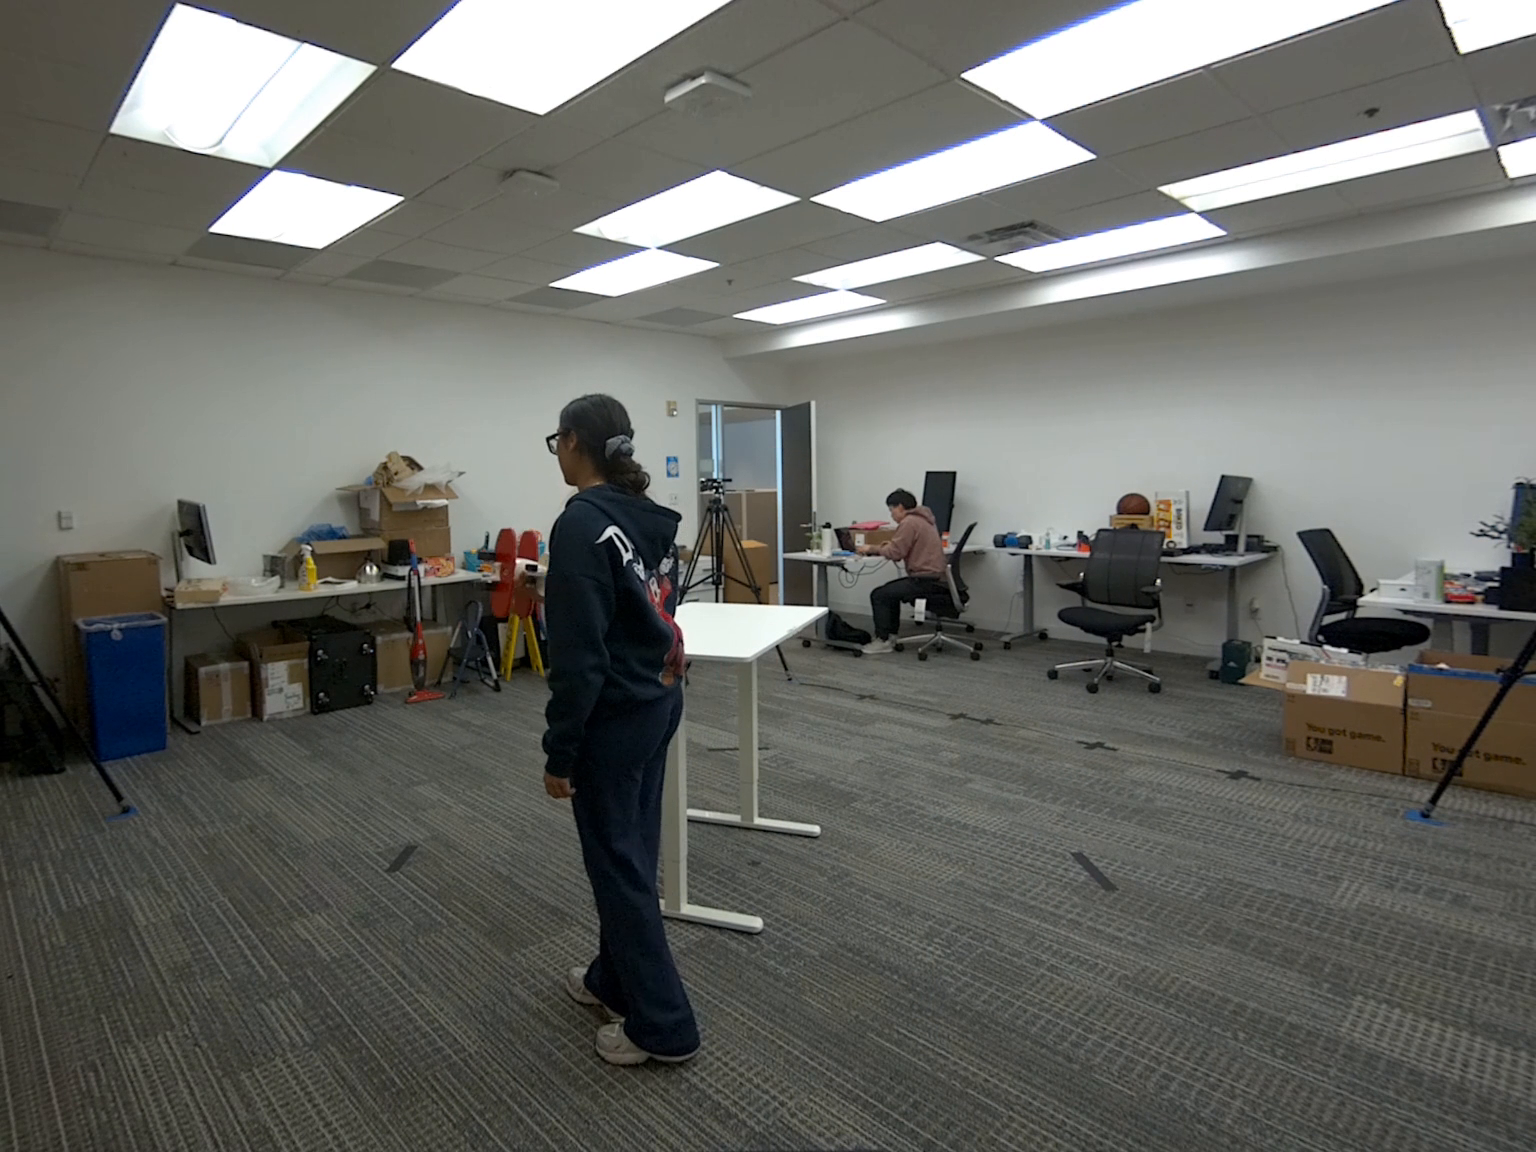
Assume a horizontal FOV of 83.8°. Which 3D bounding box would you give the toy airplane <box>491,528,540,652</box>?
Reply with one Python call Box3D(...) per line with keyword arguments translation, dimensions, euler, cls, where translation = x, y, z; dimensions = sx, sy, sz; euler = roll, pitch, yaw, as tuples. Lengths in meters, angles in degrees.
Box3D(translation=(-0.706, 0.012, 2.420), dimensions=(0.267, 0.250, 0.152), euler=(33, 10, 26), cls="toy airplane")
